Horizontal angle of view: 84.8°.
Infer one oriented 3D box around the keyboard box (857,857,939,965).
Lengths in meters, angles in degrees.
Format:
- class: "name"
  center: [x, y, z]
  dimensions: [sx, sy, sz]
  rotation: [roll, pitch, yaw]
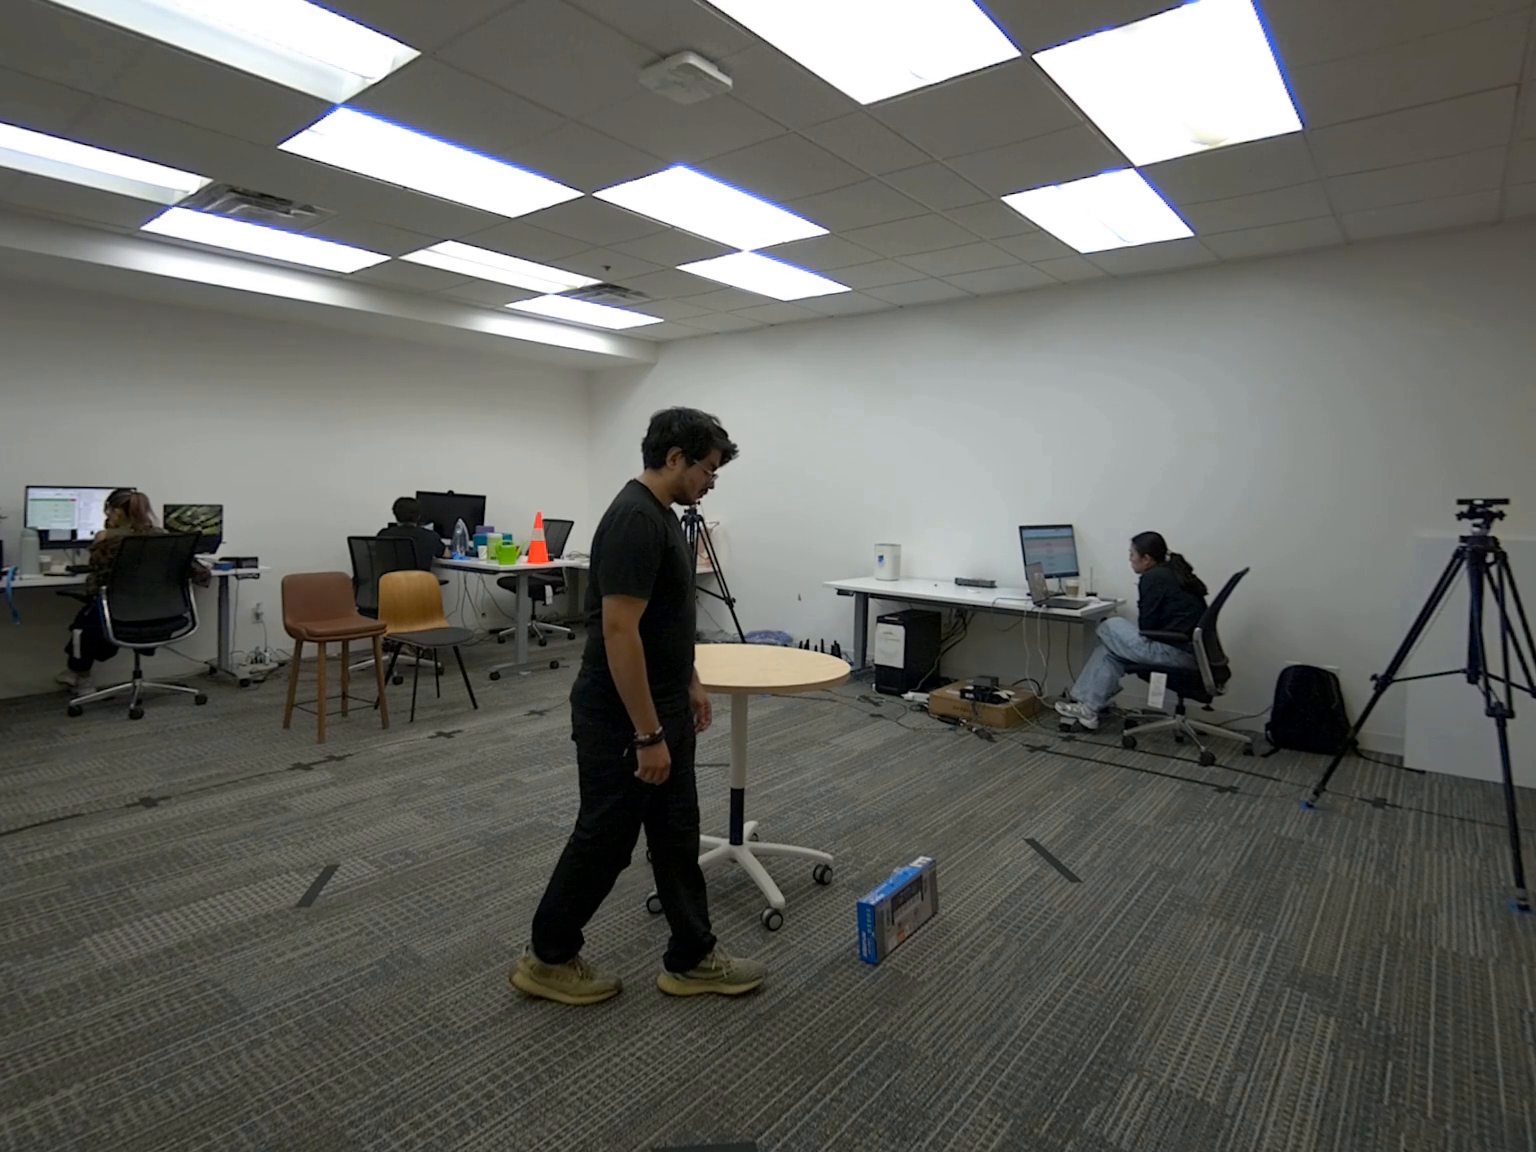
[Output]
- class: "keyboard box"
  center: [0.412, 1.041, 2.682]
  dimensions: [0.061, 0.176, 0.424]
  rotation: [-3, 1, 36]
